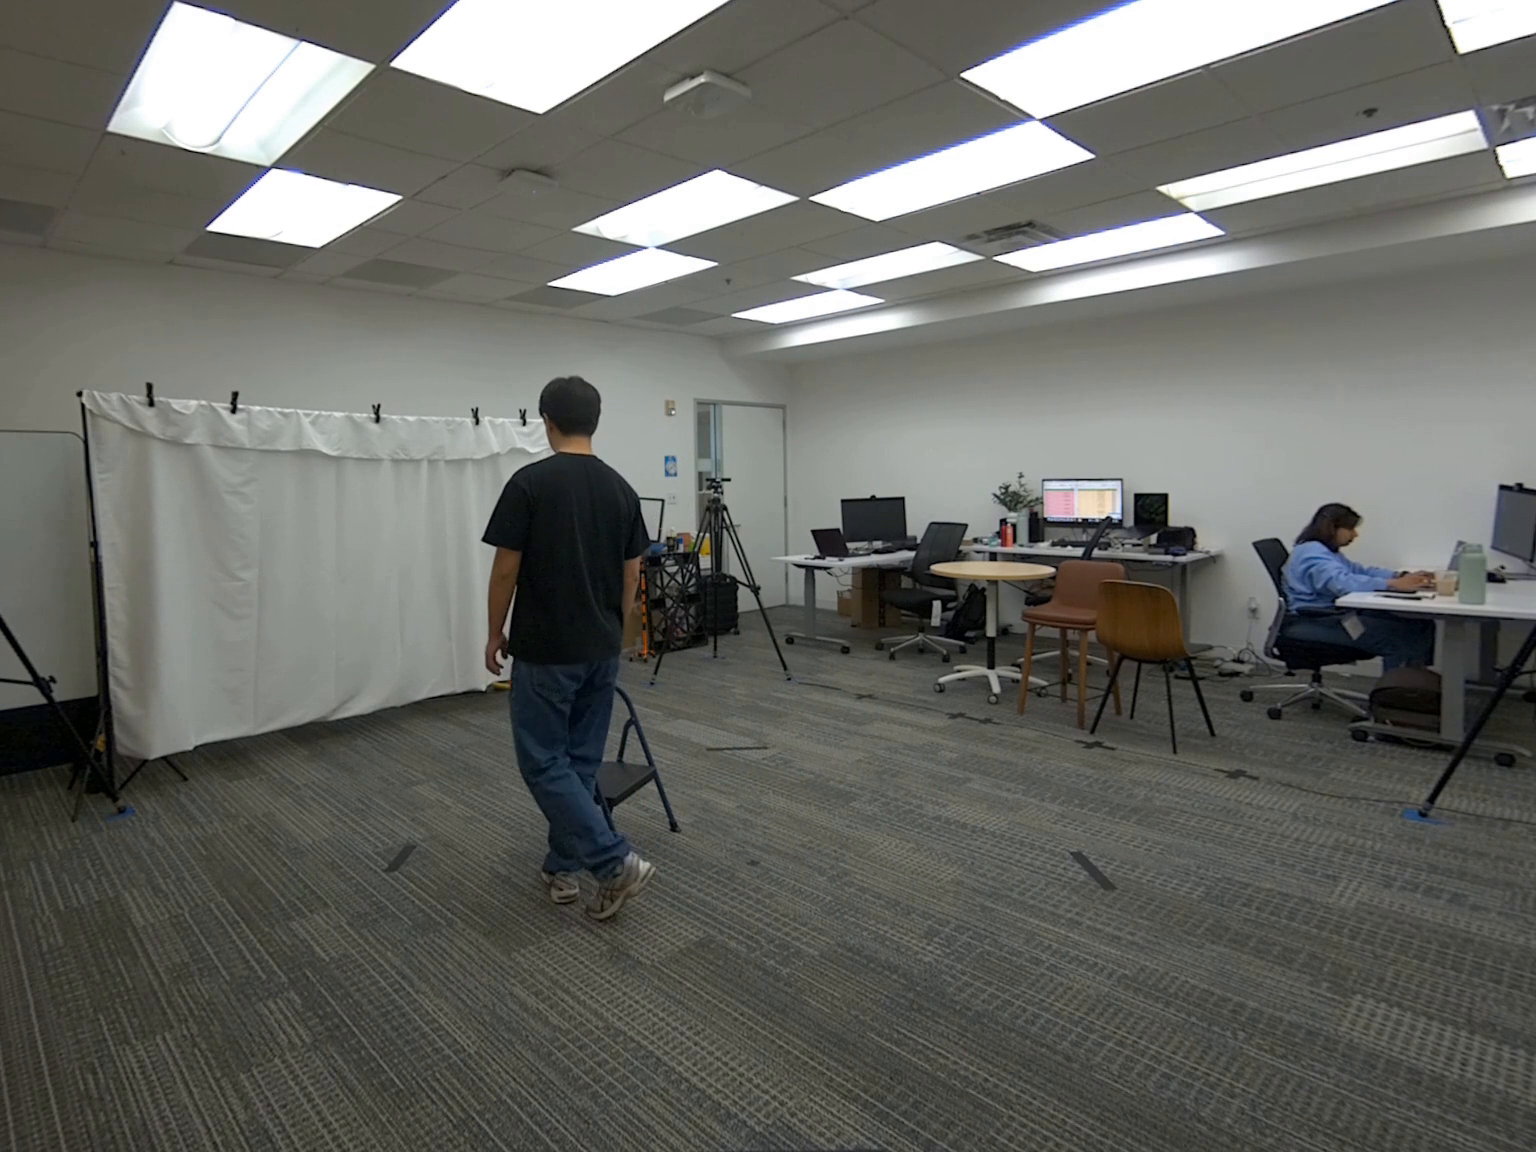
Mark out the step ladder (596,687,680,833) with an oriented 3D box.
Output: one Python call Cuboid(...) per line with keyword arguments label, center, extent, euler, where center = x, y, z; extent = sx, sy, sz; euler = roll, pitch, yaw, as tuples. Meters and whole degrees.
Cuboid(label="step ladder", center=(-0.583, 0.732, 3.267), extent=(0.356, 0.604, 0.424), euler=(0, 4, 21))
